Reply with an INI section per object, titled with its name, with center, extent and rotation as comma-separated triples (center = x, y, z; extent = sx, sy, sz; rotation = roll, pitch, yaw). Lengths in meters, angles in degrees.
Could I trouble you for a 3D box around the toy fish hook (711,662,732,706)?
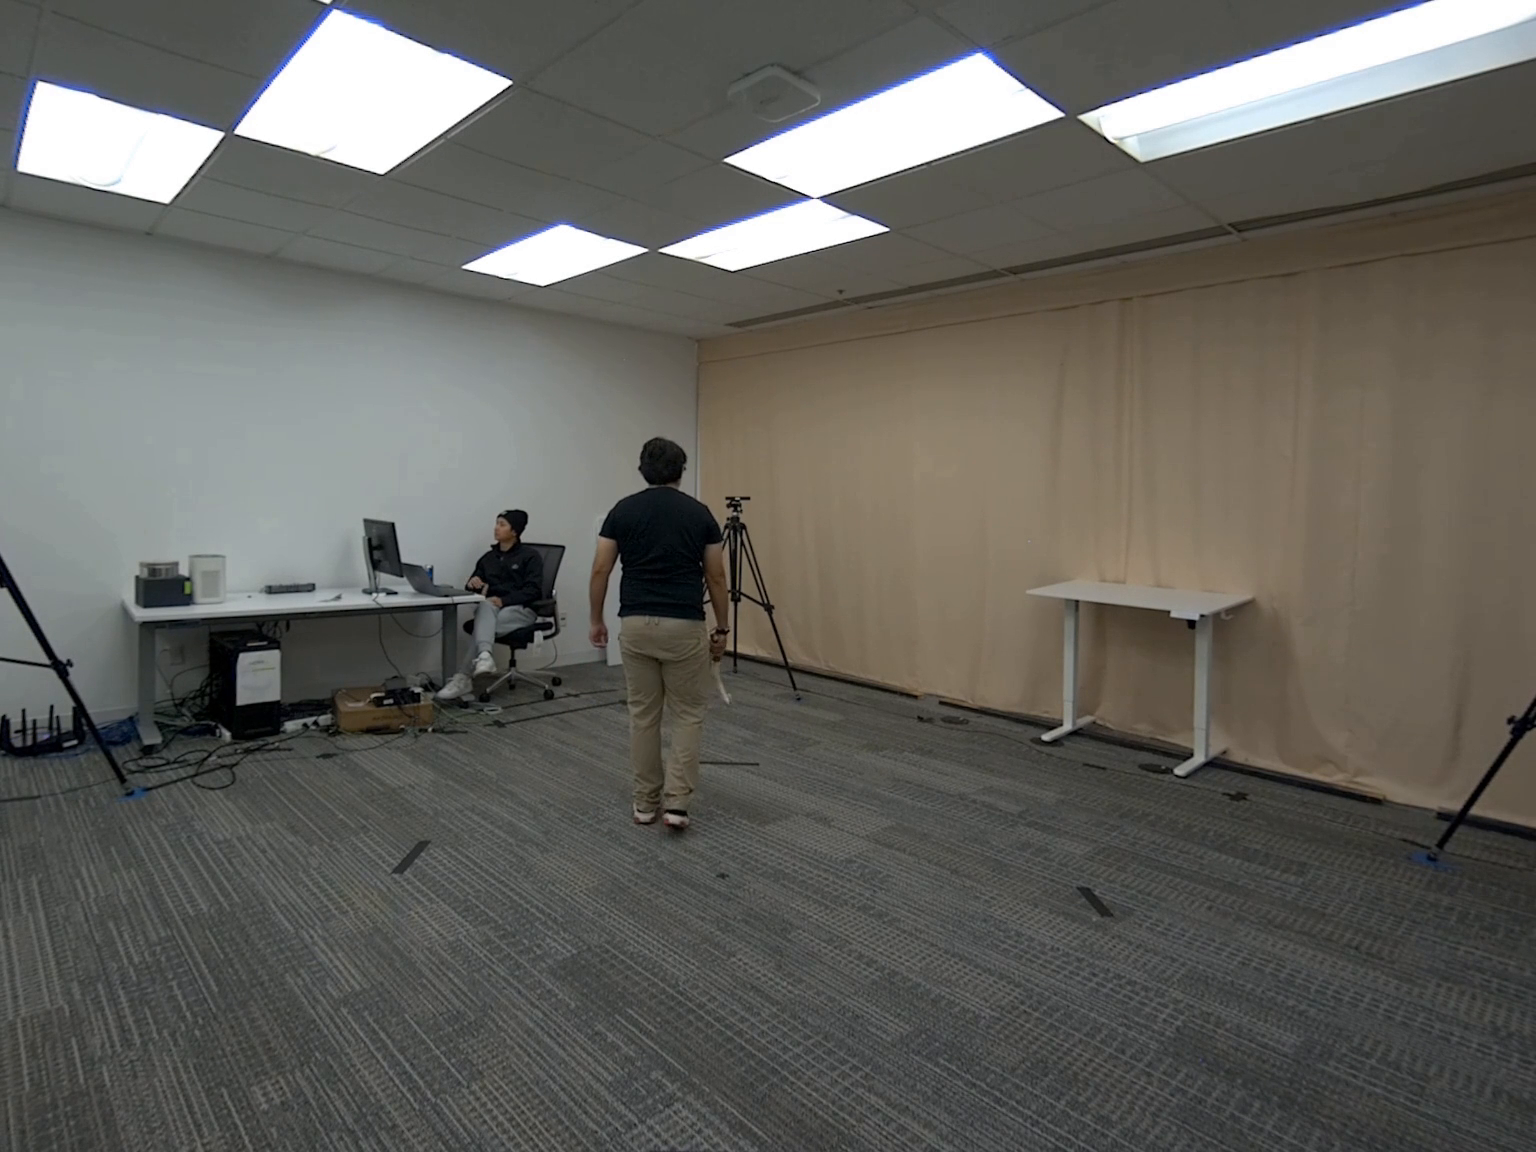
[toy fish hook]
center = -0.212, 0.447, 3.900
extent = 0.048, 0.231, 0.495
rotation = -24, -33, -17
